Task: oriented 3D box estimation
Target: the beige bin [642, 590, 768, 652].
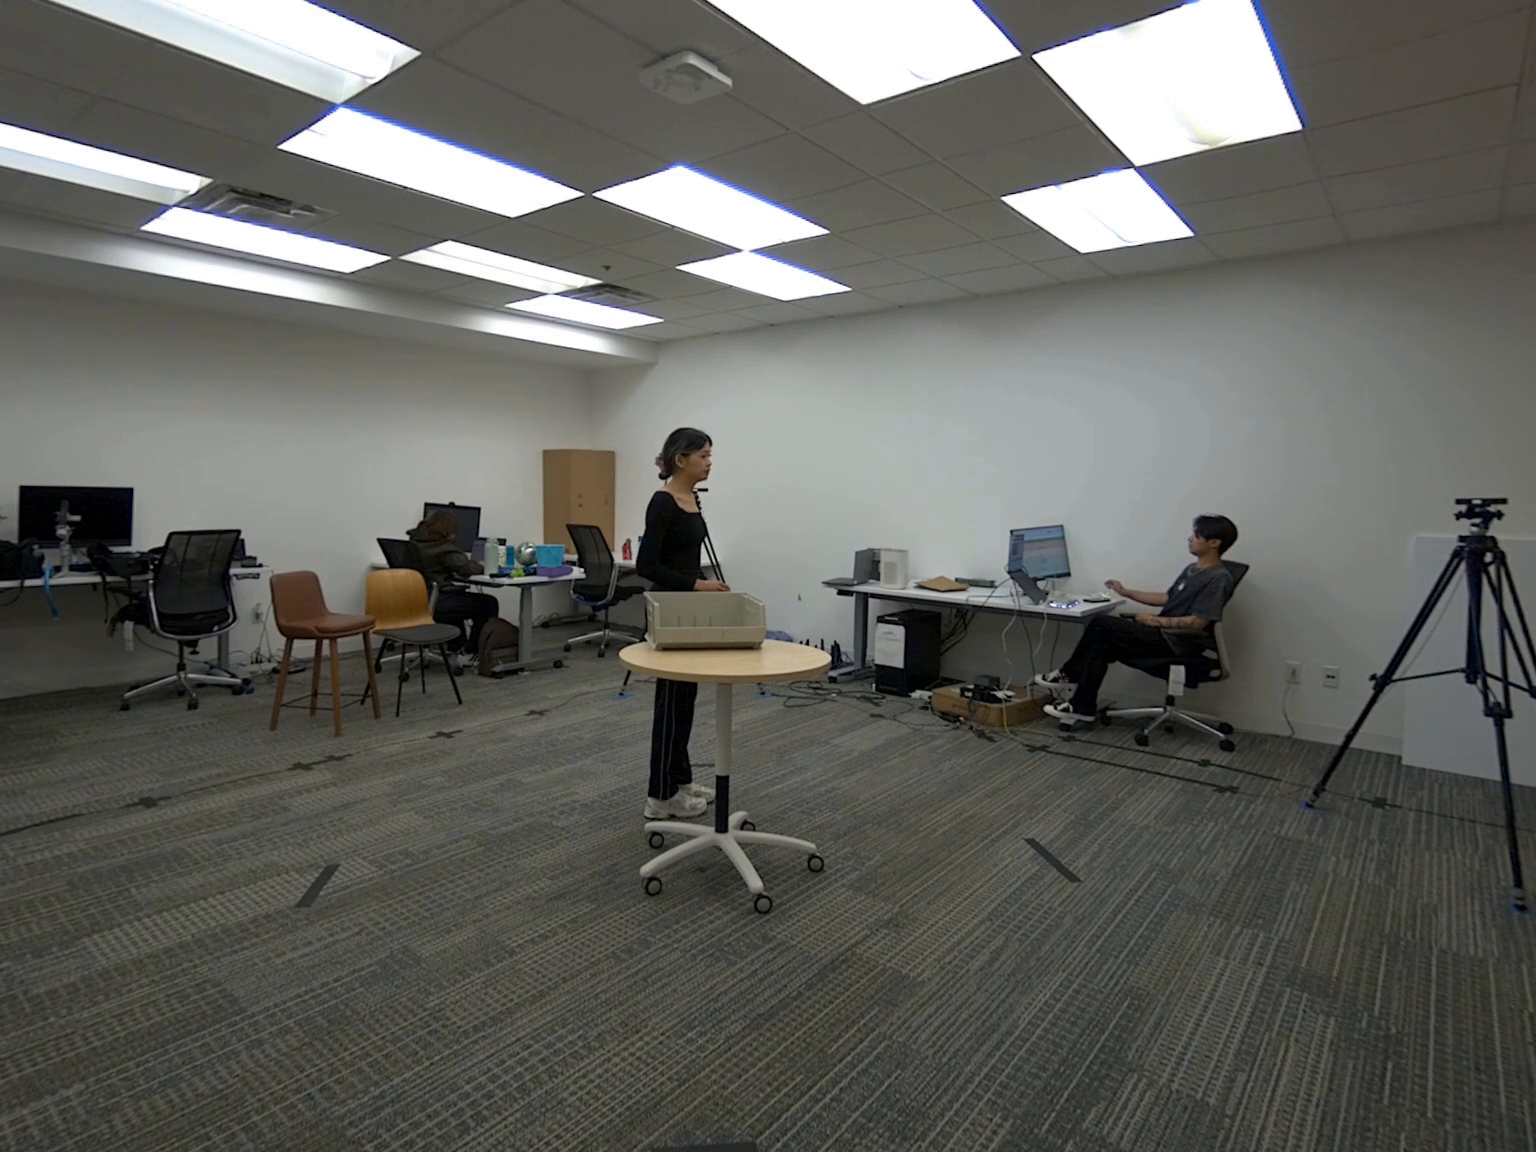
[{"bbox_3d":[-0.260,0.166,3.295,0.417,0.188,0.383,0,3,-13],"label":"beige bin"}]
